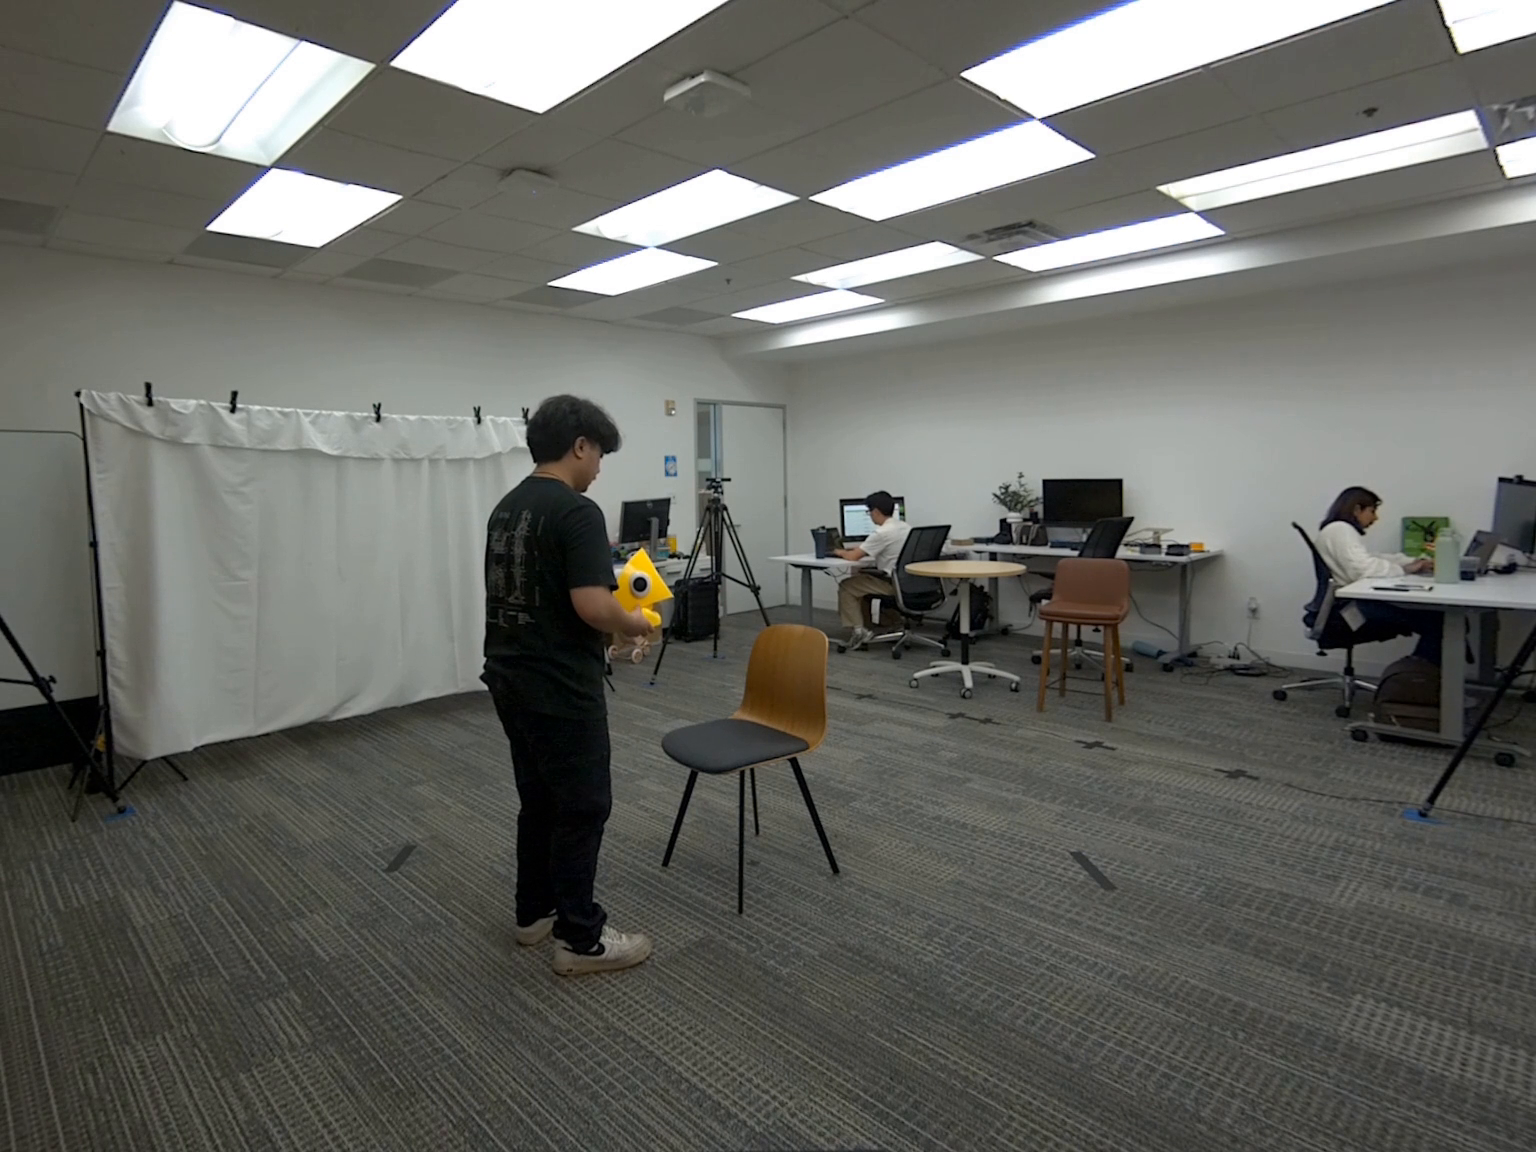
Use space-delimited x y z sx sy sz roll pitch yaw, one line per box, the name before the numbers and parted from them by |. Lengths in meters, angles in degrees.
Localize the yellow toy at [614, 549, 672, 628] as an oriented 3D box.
yellow toy | -0.432 0.037 2.684 0.211 0.229 0.188 5 10 41
